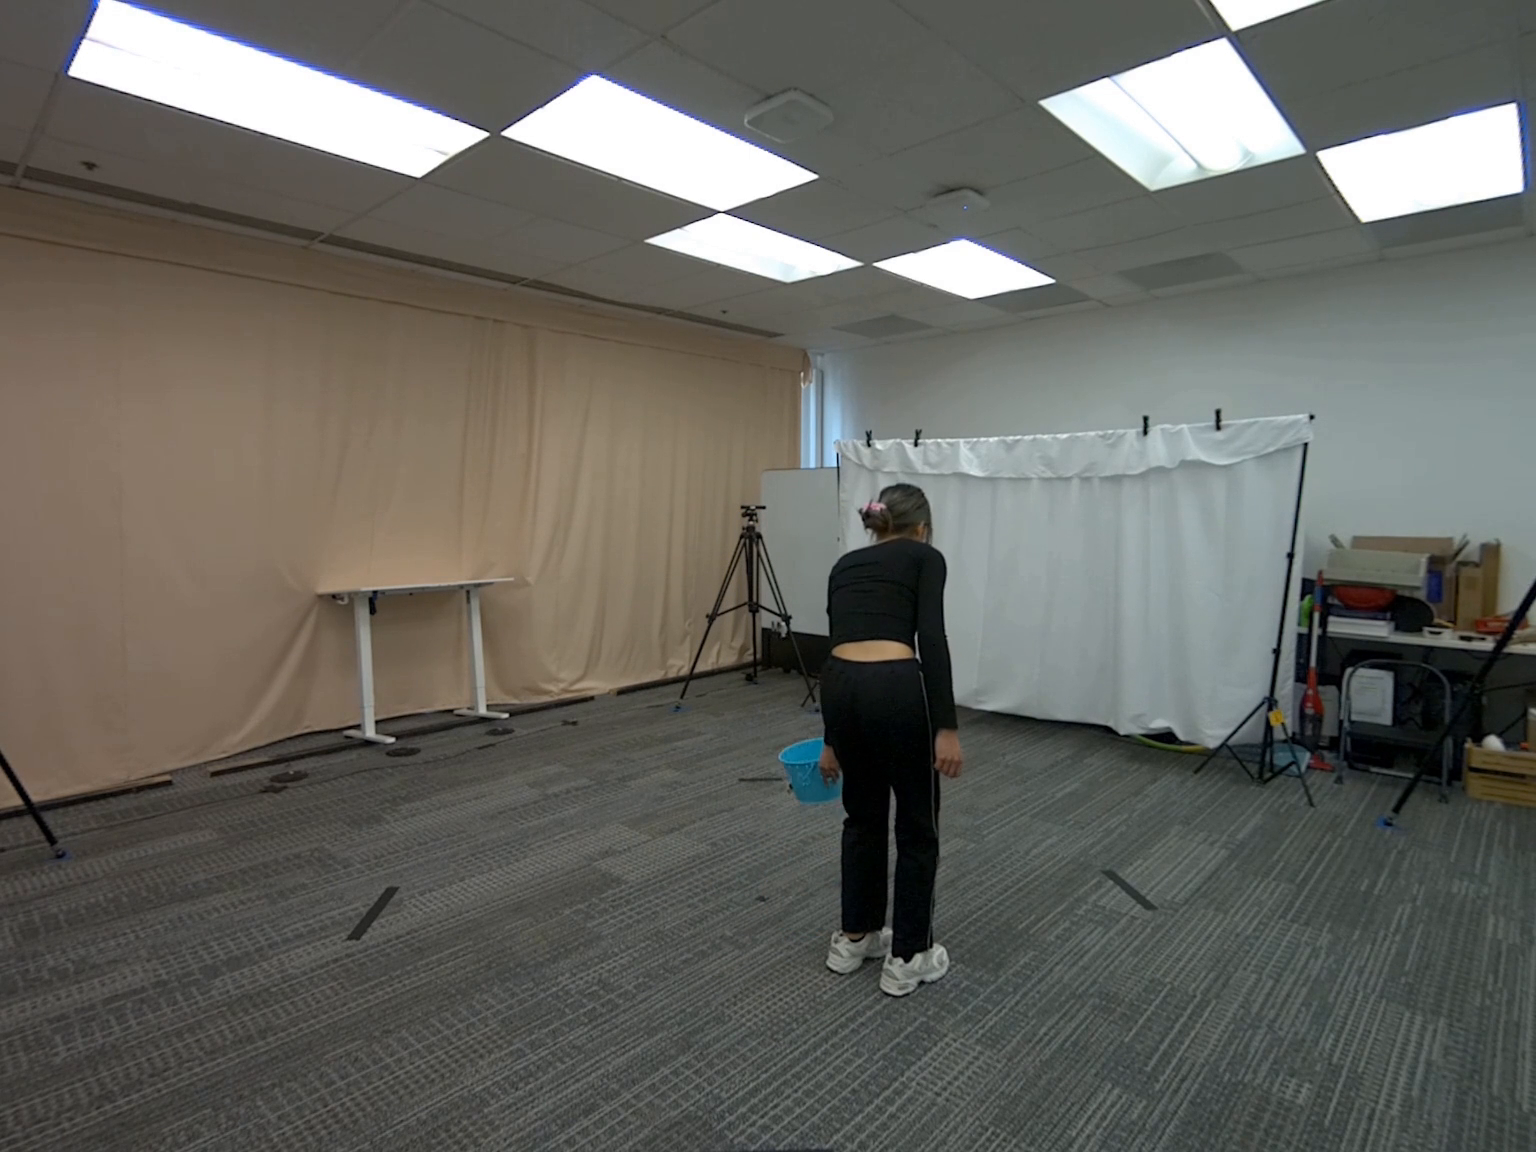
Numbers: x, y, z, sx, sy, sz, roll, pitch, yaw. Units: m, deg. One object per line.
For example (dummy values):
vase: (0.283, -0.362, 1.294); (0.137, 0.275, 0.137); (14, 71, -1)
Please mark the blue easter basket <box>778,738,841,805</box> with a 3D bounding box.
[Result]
blue easter basket: (0.167, 0.675, 2.867); (0.243, 0.155, 0.245); (-12, 6, -1)
